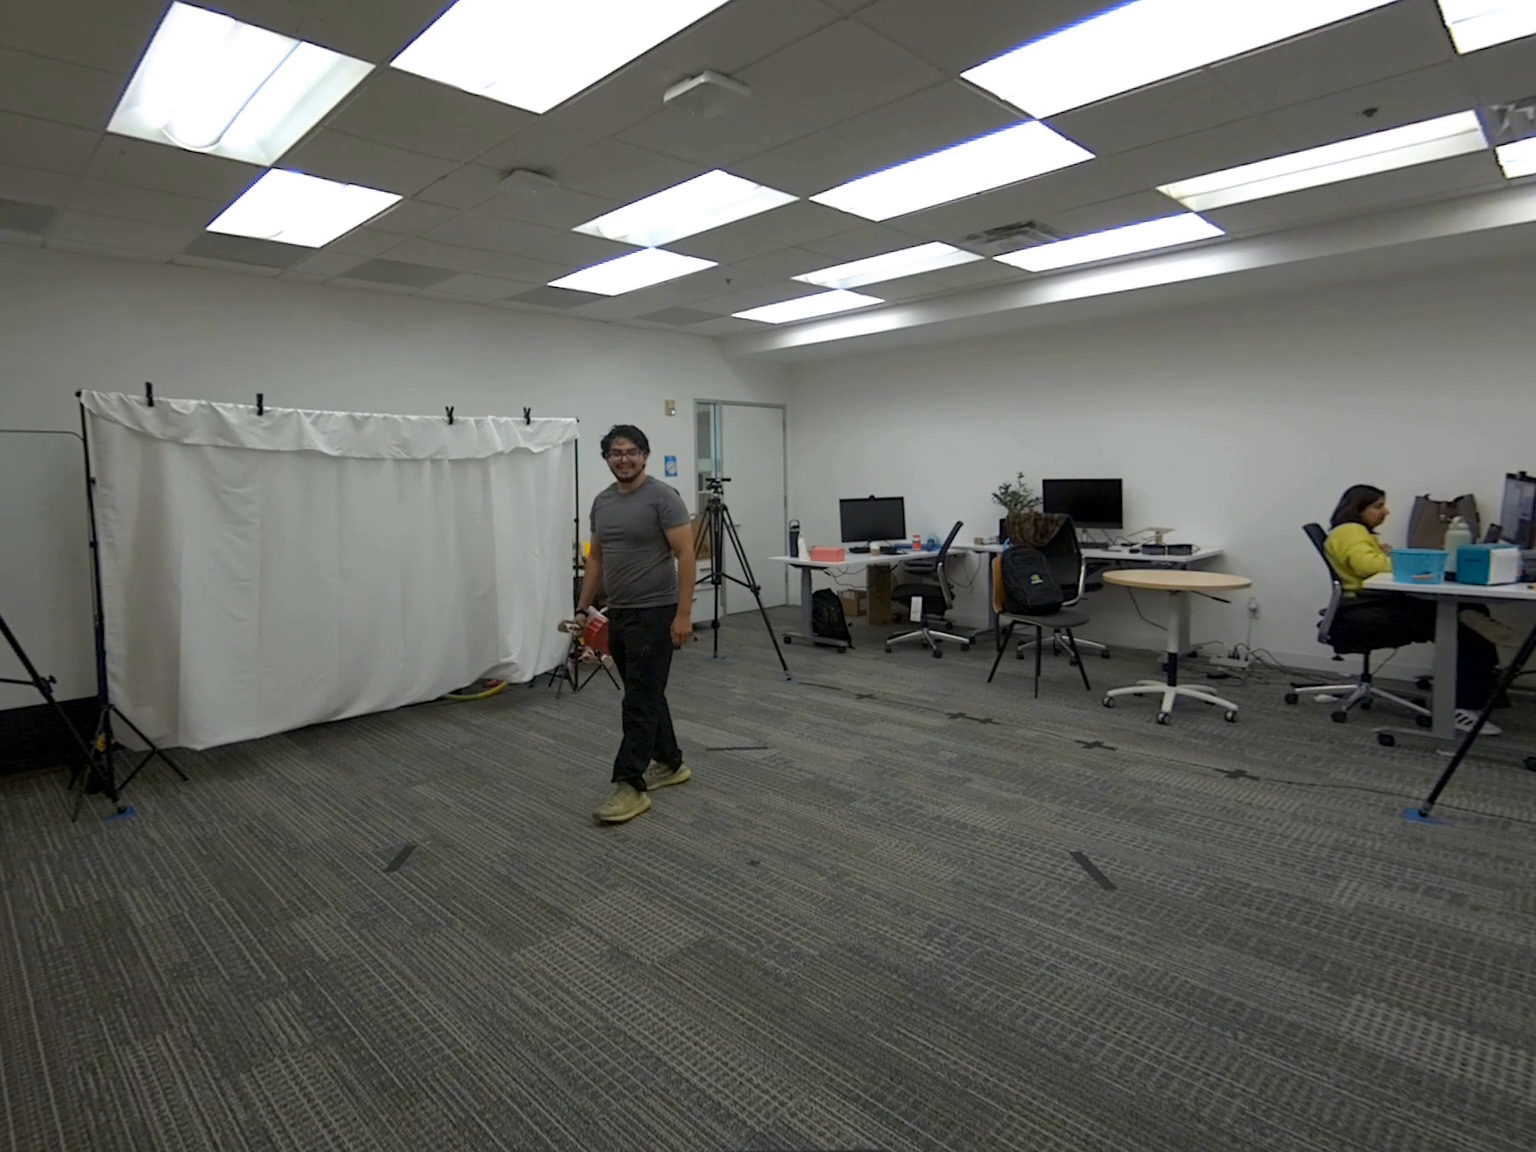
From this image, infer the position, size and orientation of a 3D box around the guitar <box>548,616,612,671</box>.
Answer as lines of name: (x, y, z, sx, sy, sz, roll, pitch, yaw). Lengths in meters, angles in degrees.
guitar: (-0.796, 0.289, 3.883, 0.072, 0.192, 0.488, 23, 9, 19)
